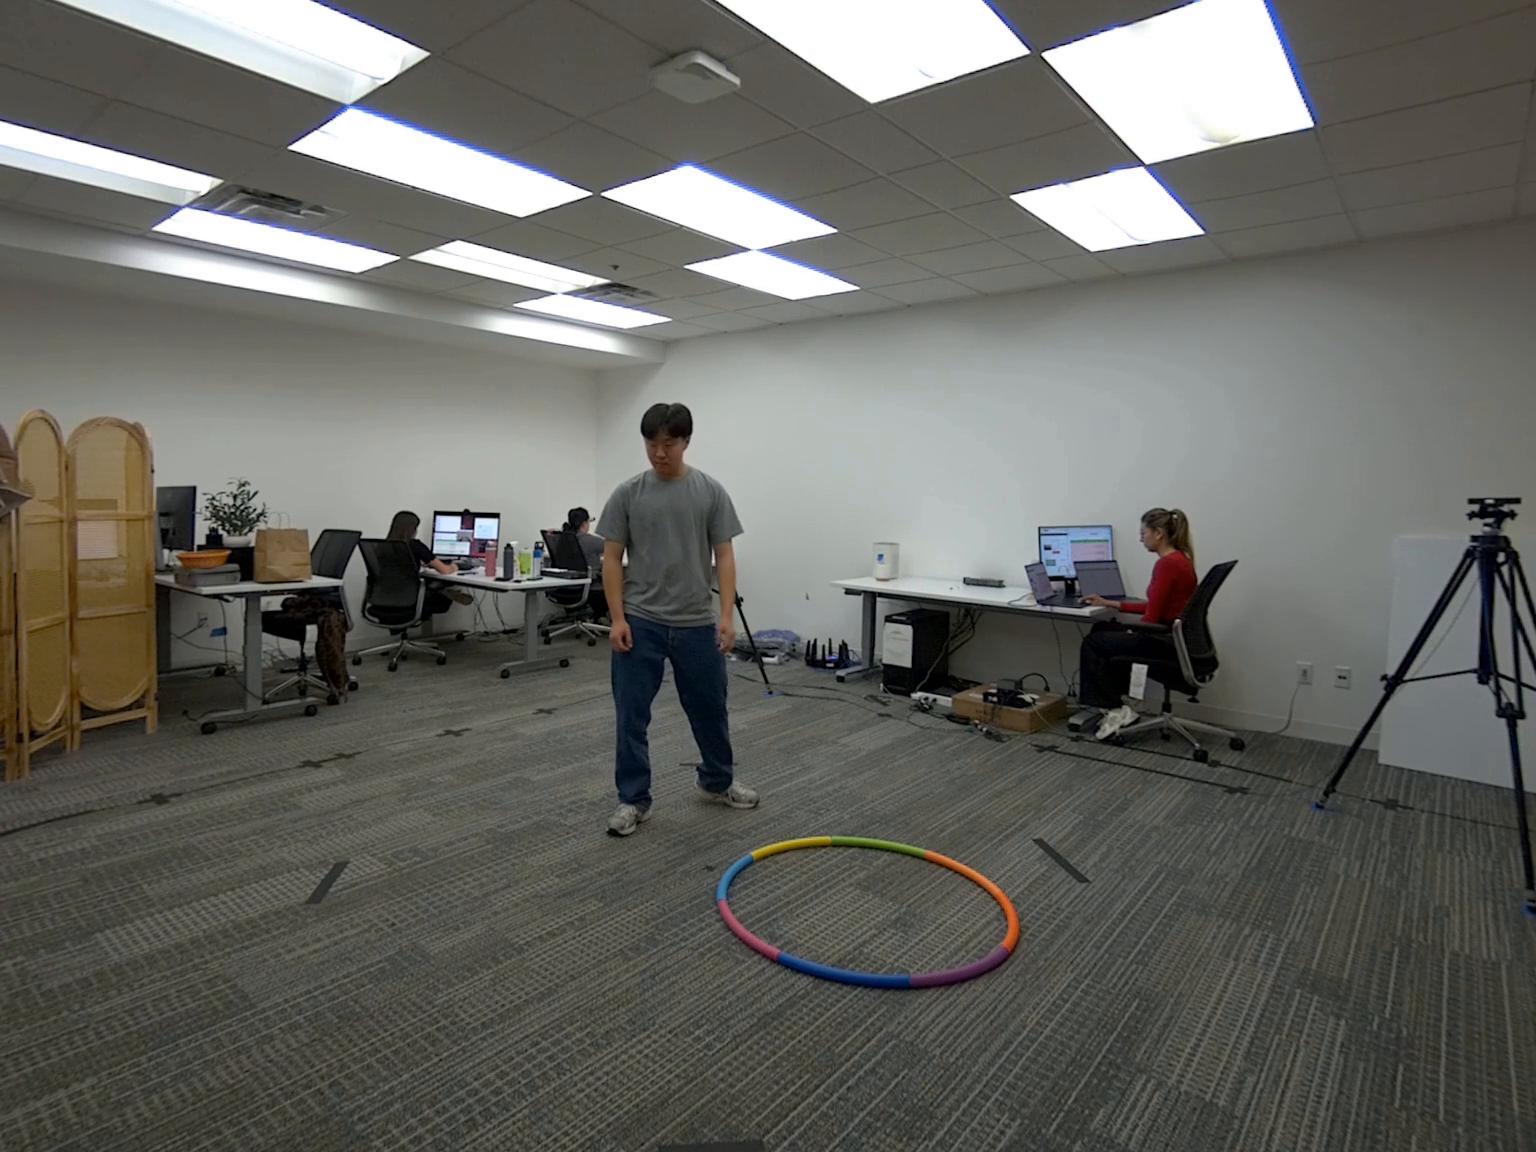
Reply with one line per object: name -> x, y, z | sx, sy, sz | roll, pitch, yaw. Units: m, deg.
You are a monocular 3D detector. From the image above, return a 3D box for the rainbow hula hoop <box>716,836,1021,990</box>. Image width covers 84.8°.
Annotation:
rainbow hula hoop -> 0.310, 1.074, 2.858 | 0.978, 0.035, 0.984 | 1, 6, -2
